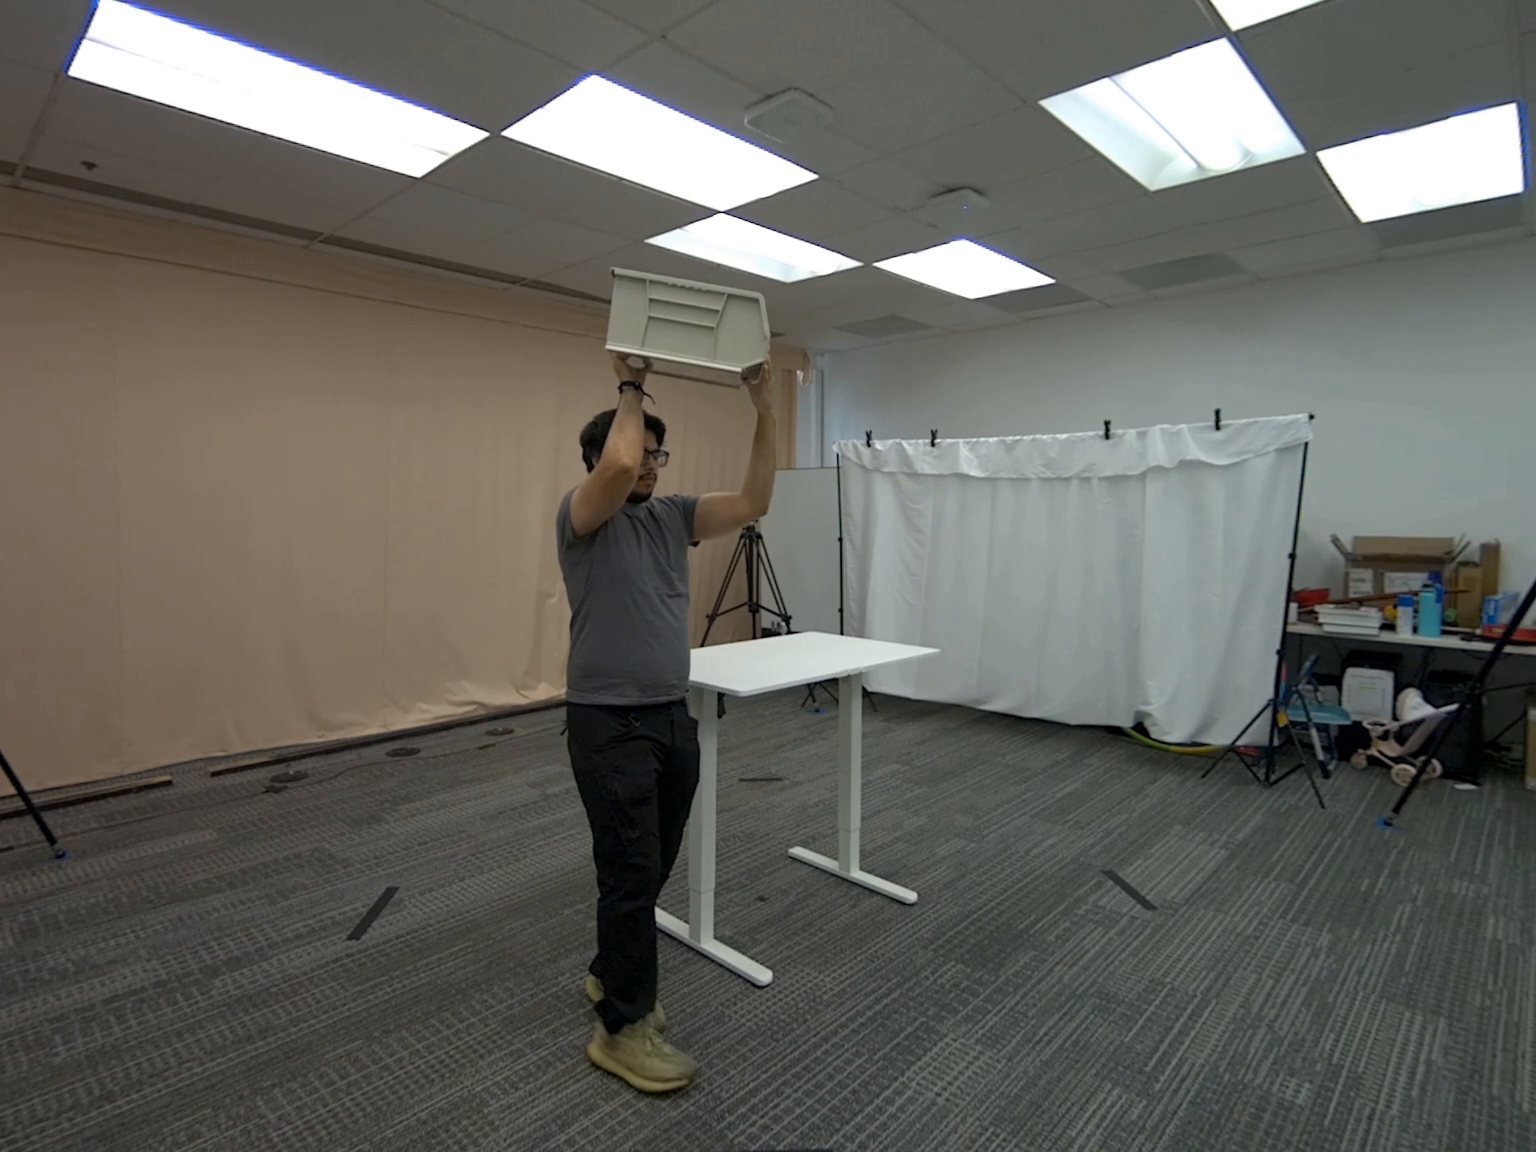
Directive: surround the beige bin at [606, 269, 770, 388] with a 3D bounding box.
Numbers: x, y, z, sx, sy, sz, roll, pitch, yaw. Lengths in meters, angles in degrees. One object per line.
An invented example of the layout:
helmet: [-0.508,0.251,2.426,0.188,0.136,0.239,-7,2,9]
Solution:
beige bin: [-0.189,-0.594,2.079,0.377,0.188,0.424,9,7,-2]
